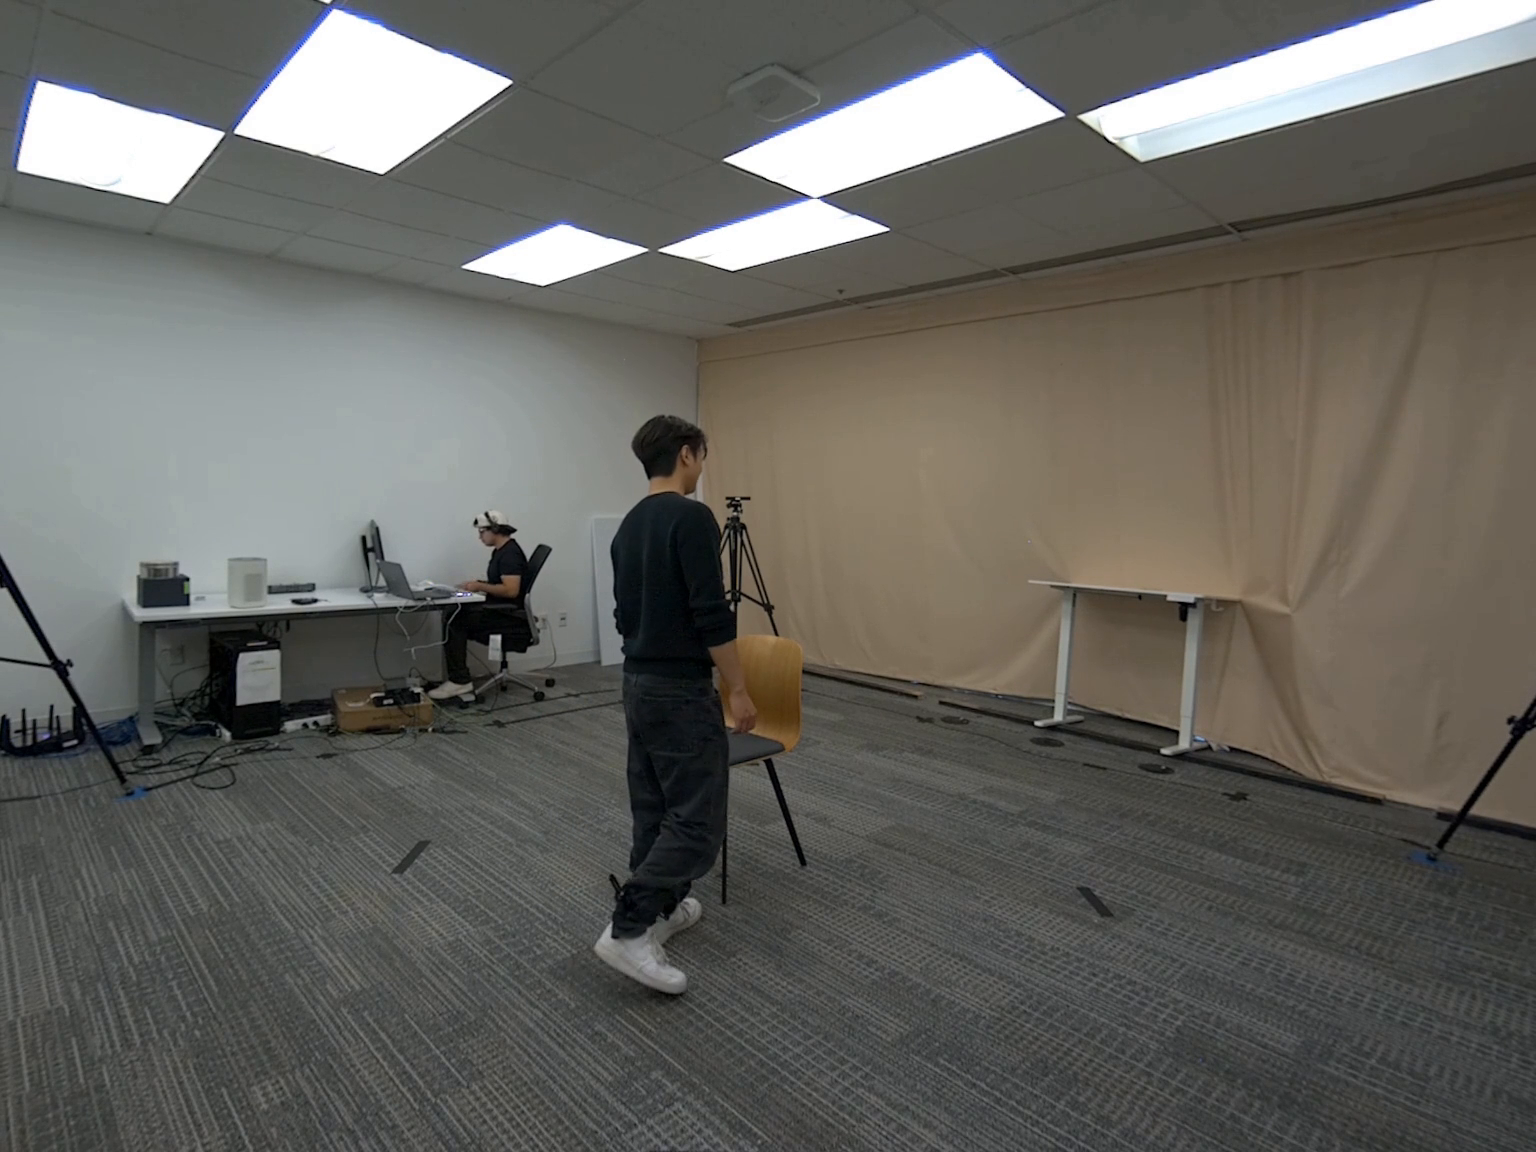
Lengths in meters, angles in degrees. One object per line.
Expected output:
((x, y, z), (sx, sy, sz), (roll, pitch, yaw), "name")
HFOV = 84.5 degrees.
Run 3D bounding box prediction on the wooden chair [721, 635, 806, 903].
((-0.168, 0.674, 3.161), (0.490, 0.877, 0.510), (4, 0, 43), "wooden chair")
